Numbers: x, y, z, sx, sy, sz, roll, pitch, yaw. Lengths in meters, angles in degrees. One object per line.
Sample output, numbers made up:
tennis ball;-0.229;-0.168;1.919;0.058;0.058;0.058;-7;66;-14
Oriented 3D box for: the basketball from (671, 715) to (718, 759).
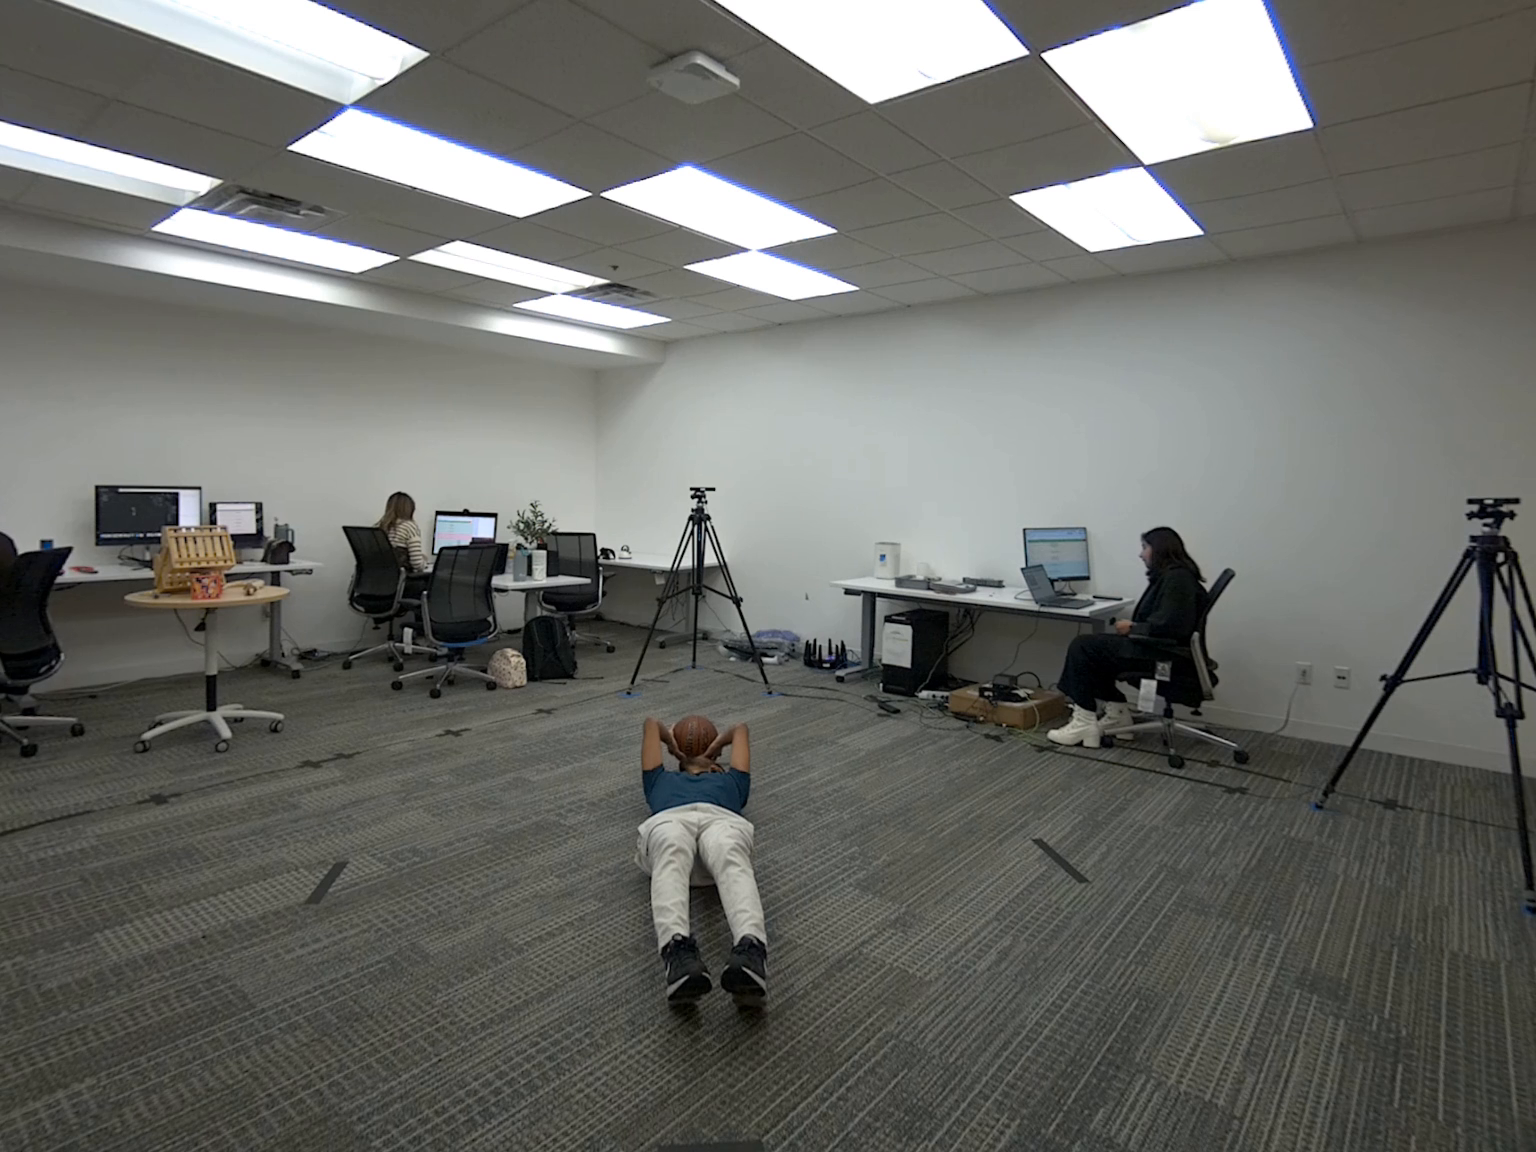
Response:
basketball;-0.370;0.787;4.131;0.235;0.235;0.237;1;4;-2
